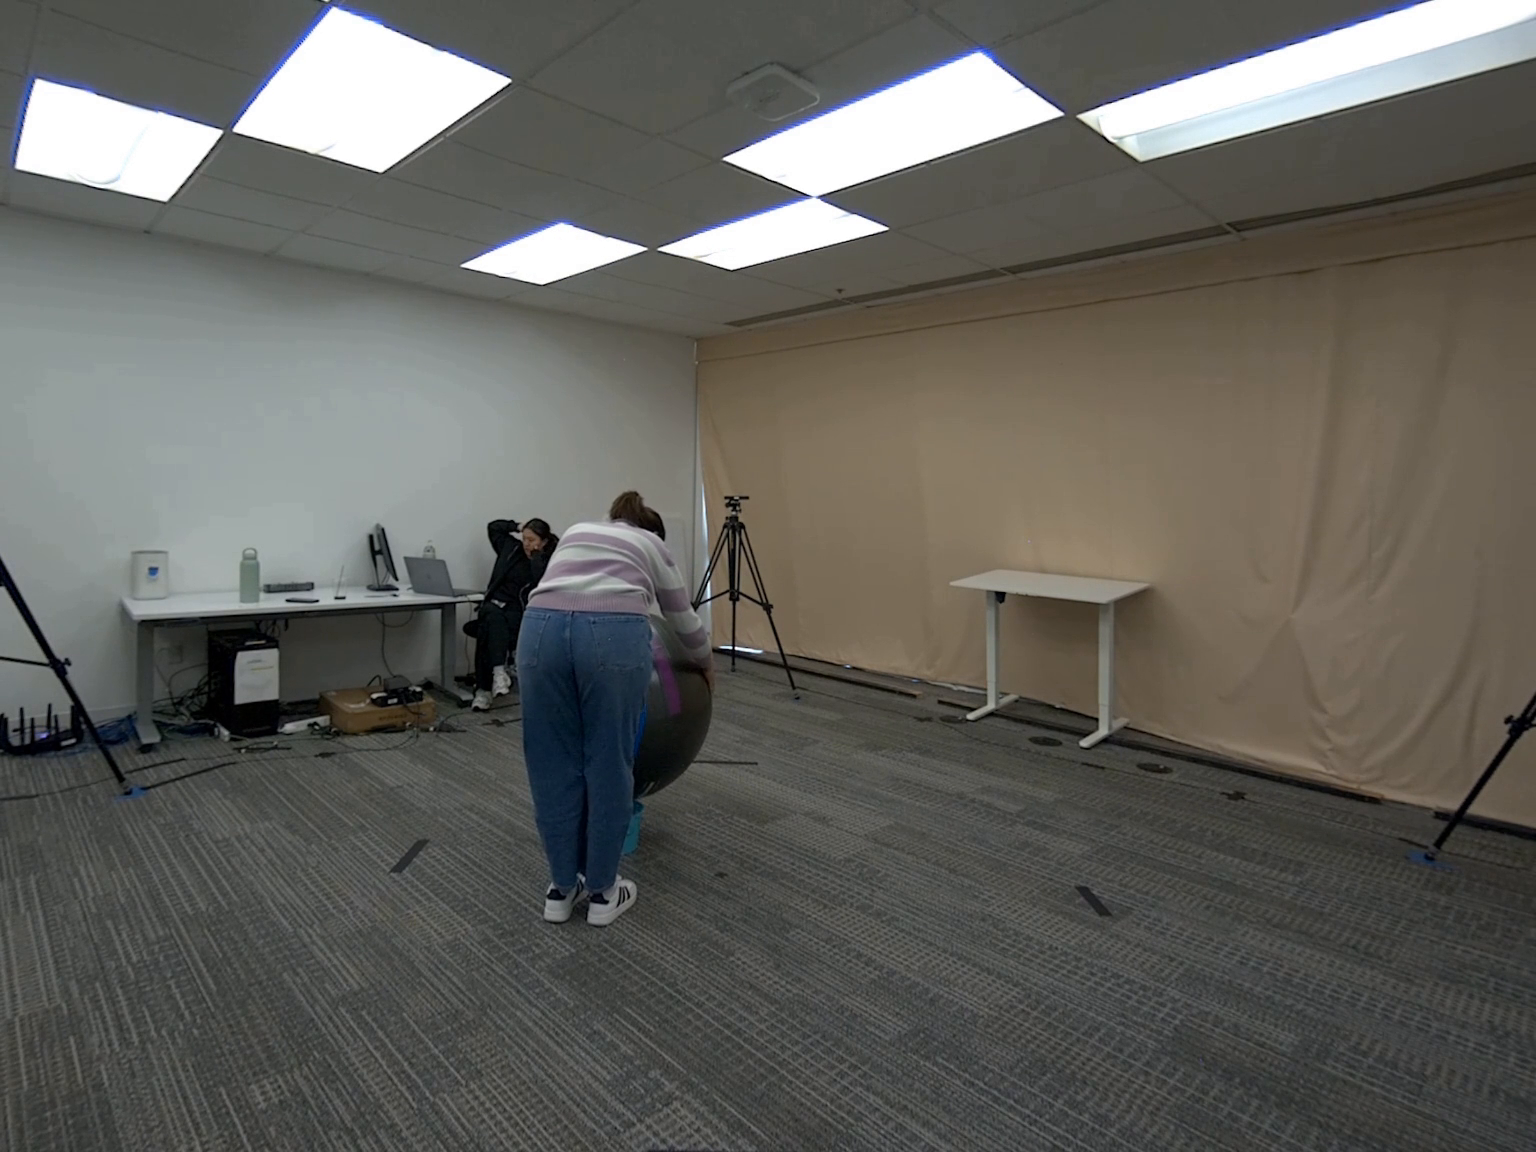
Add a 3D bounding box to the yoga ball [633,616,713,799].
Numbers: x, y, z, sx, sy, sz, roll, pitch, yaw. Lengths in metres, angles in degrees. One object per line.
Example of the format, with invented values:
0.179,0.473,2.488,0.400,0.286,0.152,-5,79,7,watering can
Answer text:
-0.607,0.511,3.373,0.757,0.756,0.761,1,4,-1,yoga ball
